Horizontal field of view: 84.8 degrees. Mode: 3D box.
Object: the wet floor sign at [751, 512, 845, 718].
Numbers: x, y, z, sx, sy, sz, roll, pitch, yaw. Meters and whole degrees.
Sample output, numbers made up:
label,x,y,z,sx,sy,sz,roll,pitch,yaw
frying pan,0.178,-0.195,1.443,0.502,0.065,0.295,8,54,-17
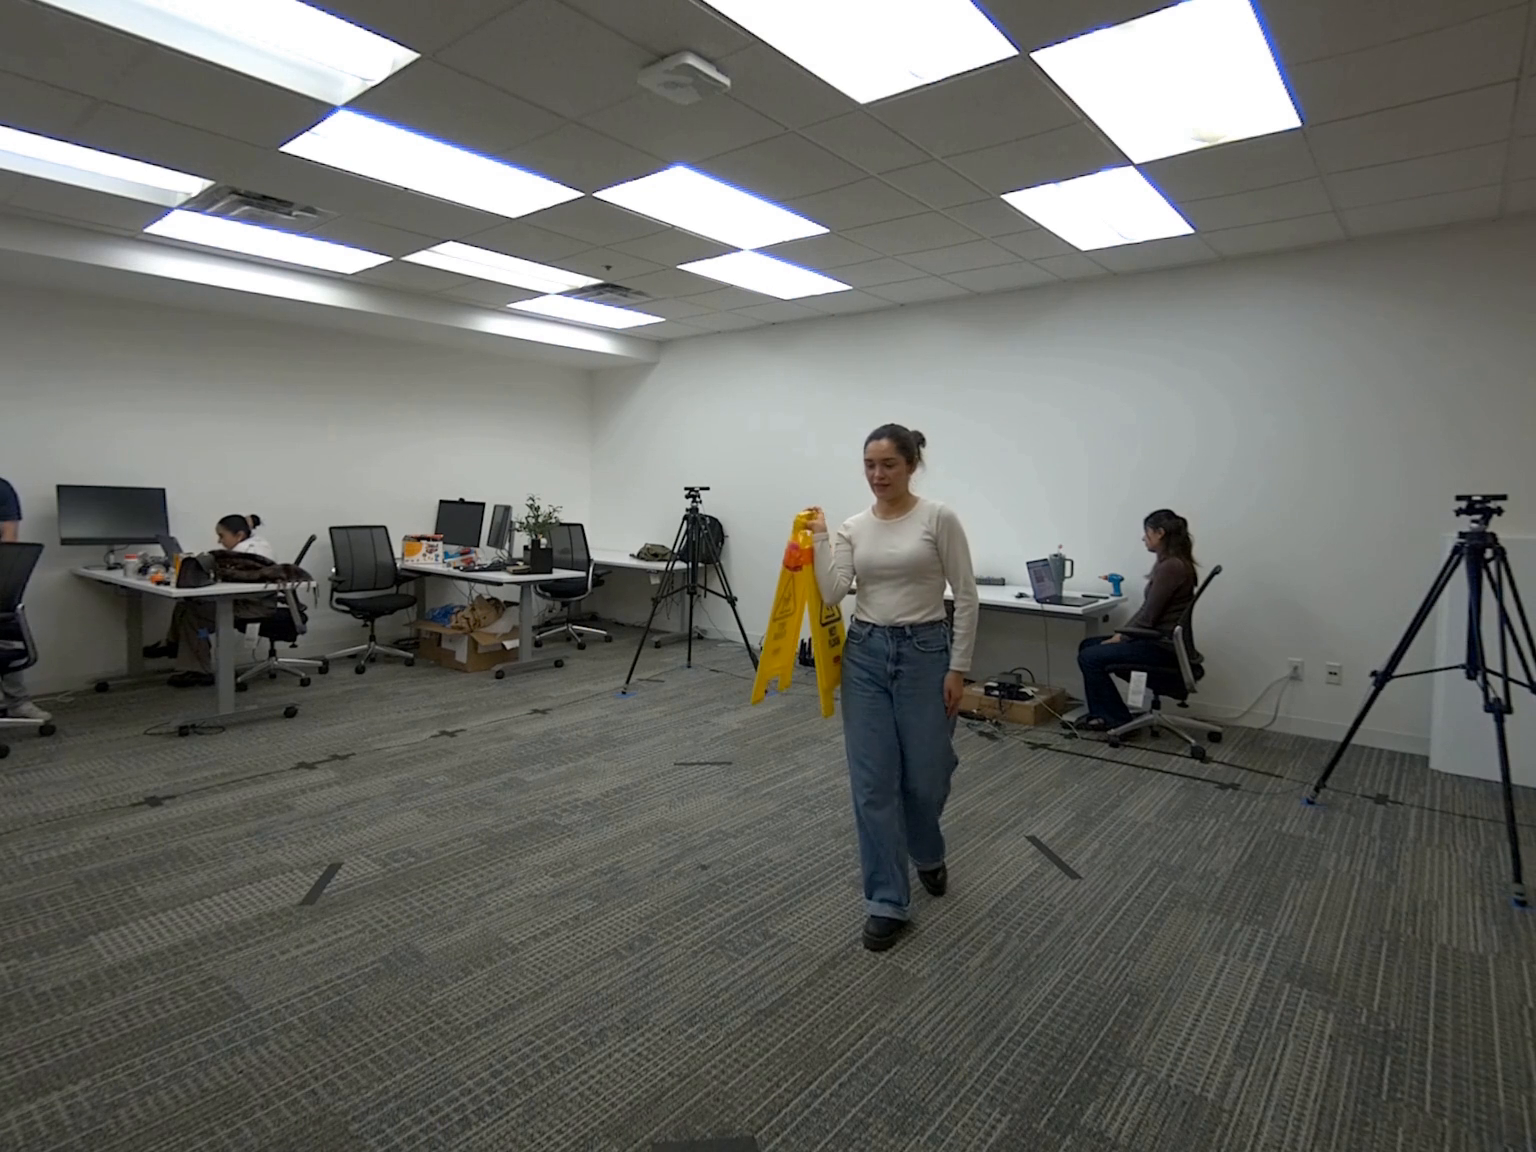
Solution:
label,x,y,z,sx,sy,sz,roll,pitch,yaw
wet floor sign,0.121,0.101,2.861,0.298,0.642,0.276,5,8,27
